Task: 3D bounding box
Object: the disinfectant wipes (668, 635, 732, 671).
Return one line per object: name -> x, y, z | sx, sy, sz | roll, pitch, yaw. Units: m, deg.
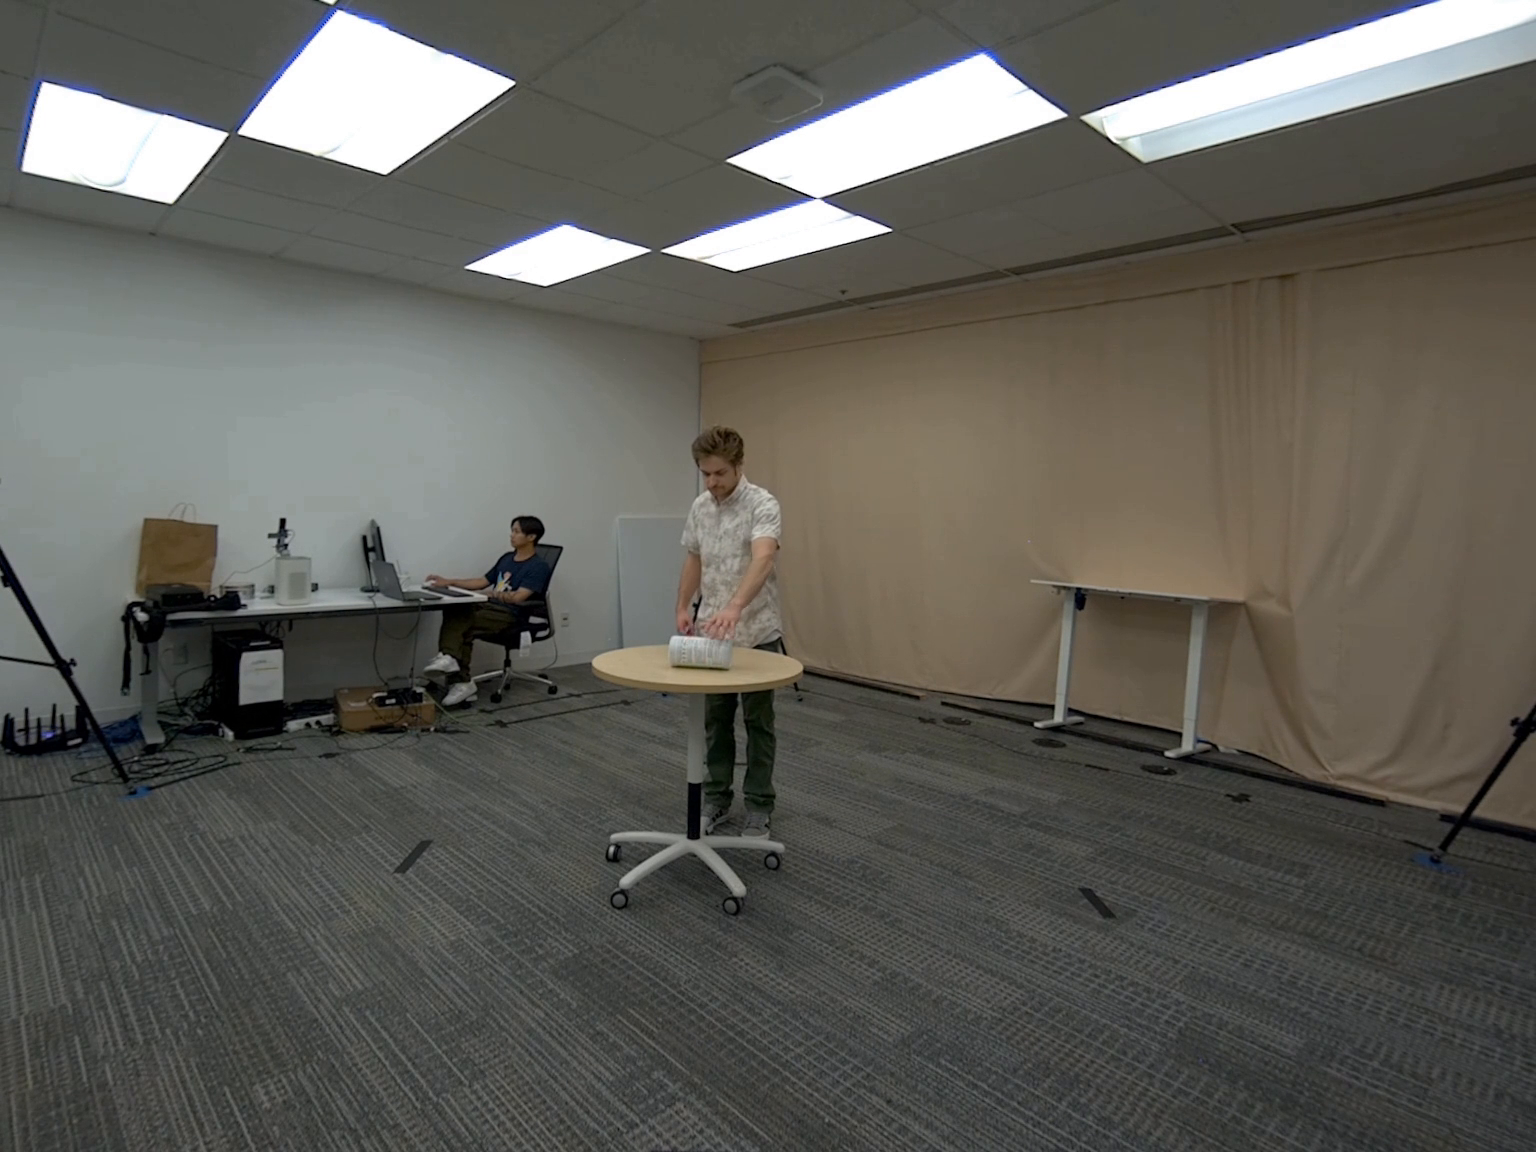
disinfectant wipes -> -0.253, 0.269, 2.970 | 0.218, 0.117, 0.117 | 2, 4, 6
